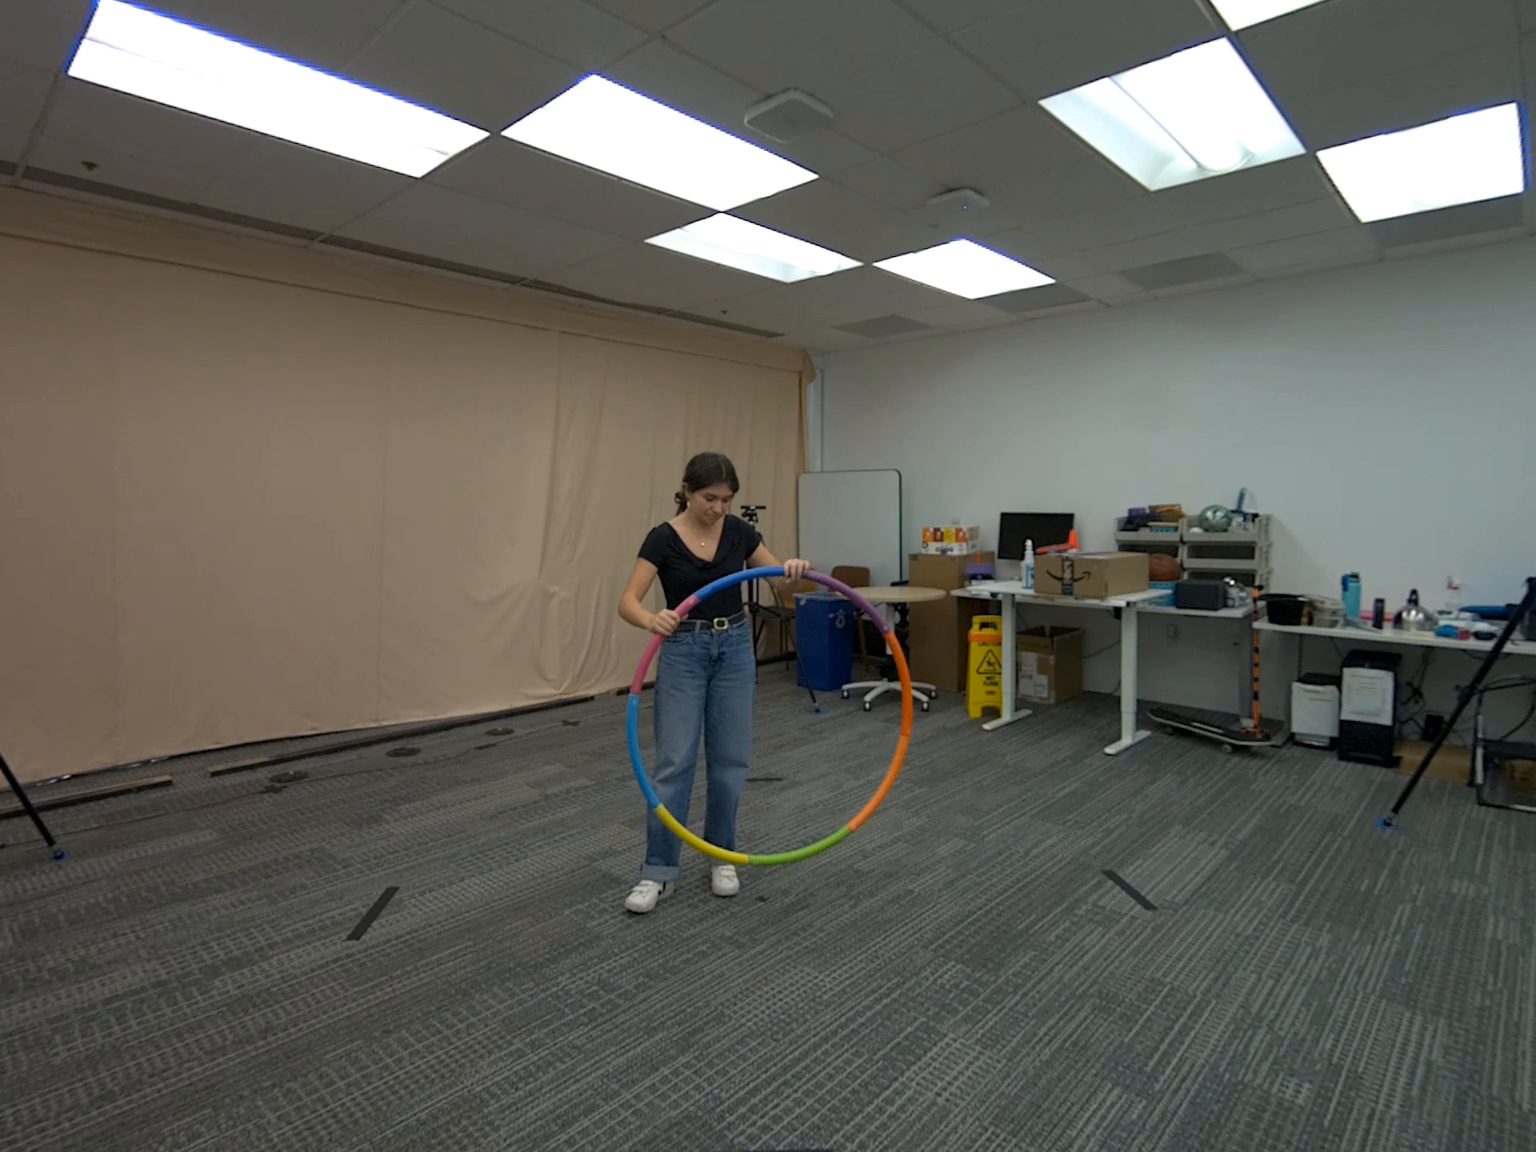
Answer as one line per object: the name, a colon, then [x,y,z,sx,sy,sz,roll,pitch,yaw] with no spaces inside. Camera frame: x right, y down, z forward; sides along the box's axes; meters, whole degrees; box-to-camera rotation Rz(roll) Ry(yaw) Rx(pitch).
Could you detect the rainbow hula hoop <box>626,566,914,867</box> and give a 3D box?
rainbow hula hoop: [0.038,0.460,2.762,0.963,0.976,0.036,-1,4,-15]
